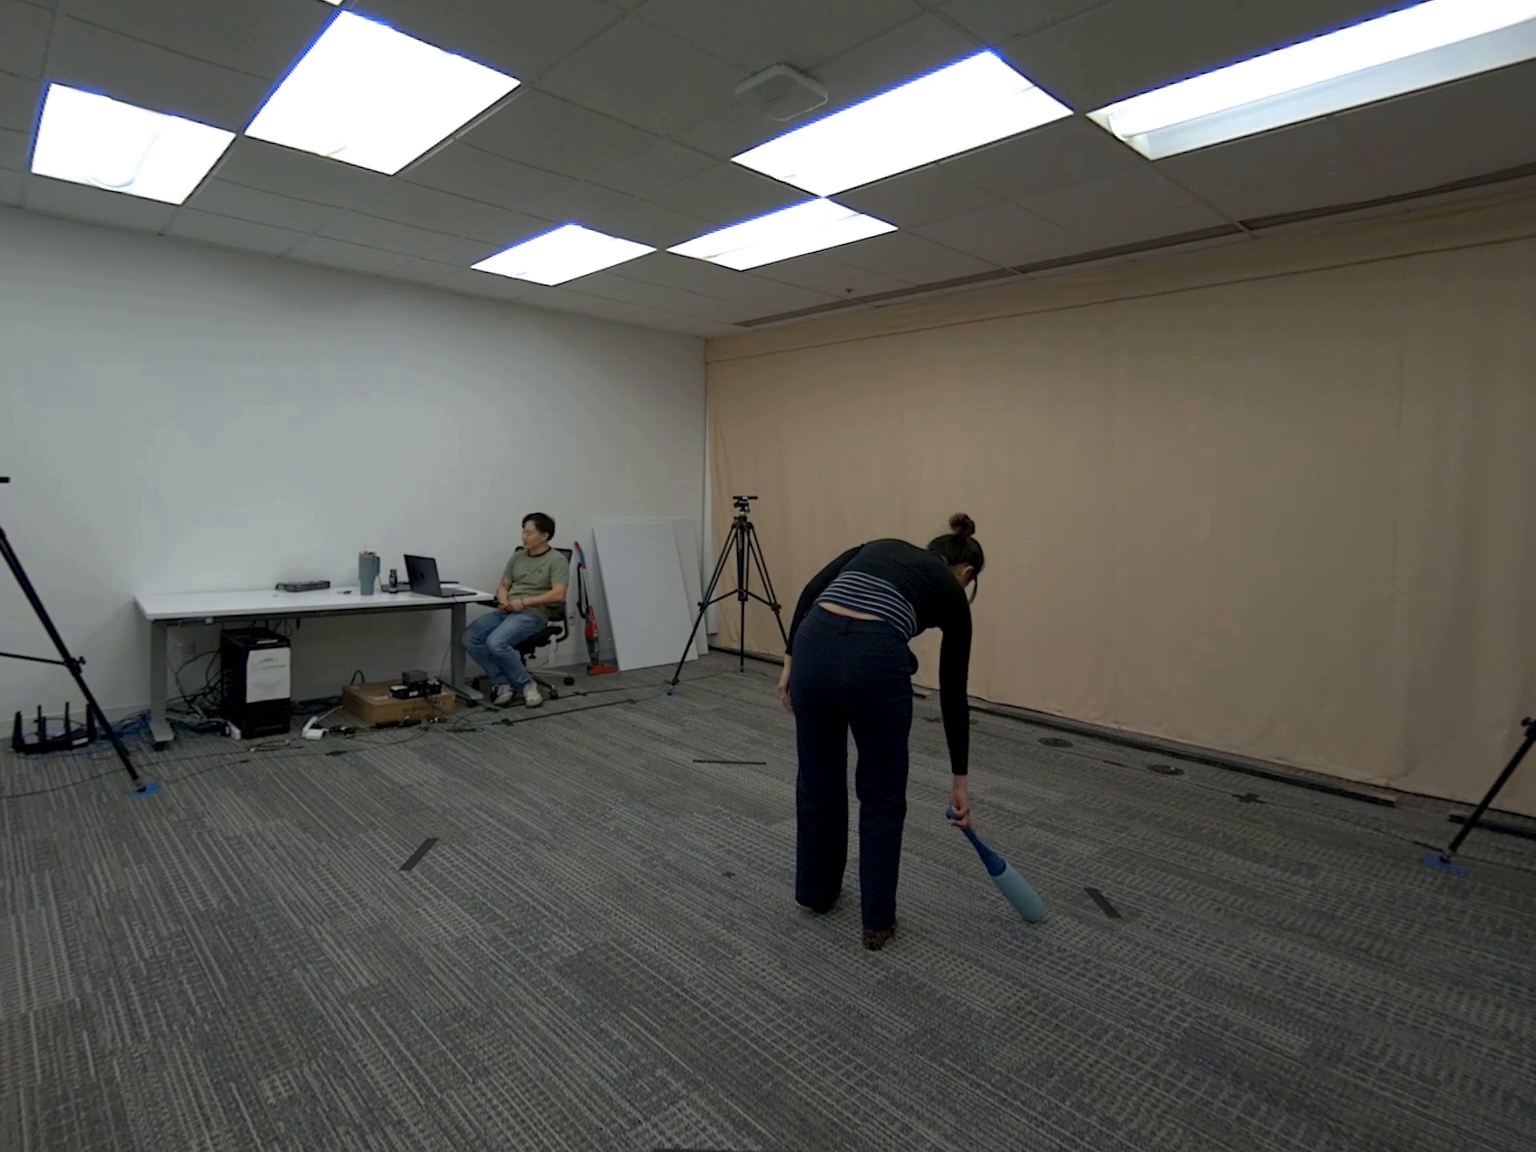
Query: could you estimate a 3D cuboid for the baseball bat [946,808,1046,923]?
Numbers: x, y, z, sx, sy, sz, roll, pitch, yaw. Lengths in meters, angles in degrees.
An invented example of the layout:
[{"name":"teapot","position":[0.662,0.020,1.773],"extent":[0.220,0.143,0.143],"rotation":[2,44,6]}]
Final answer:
[{"name":"baseball bat","position":[0.735,0.943,2.757],"extent":[0.089,0.532,0.090],"rotation":[-35,20,14]}]
